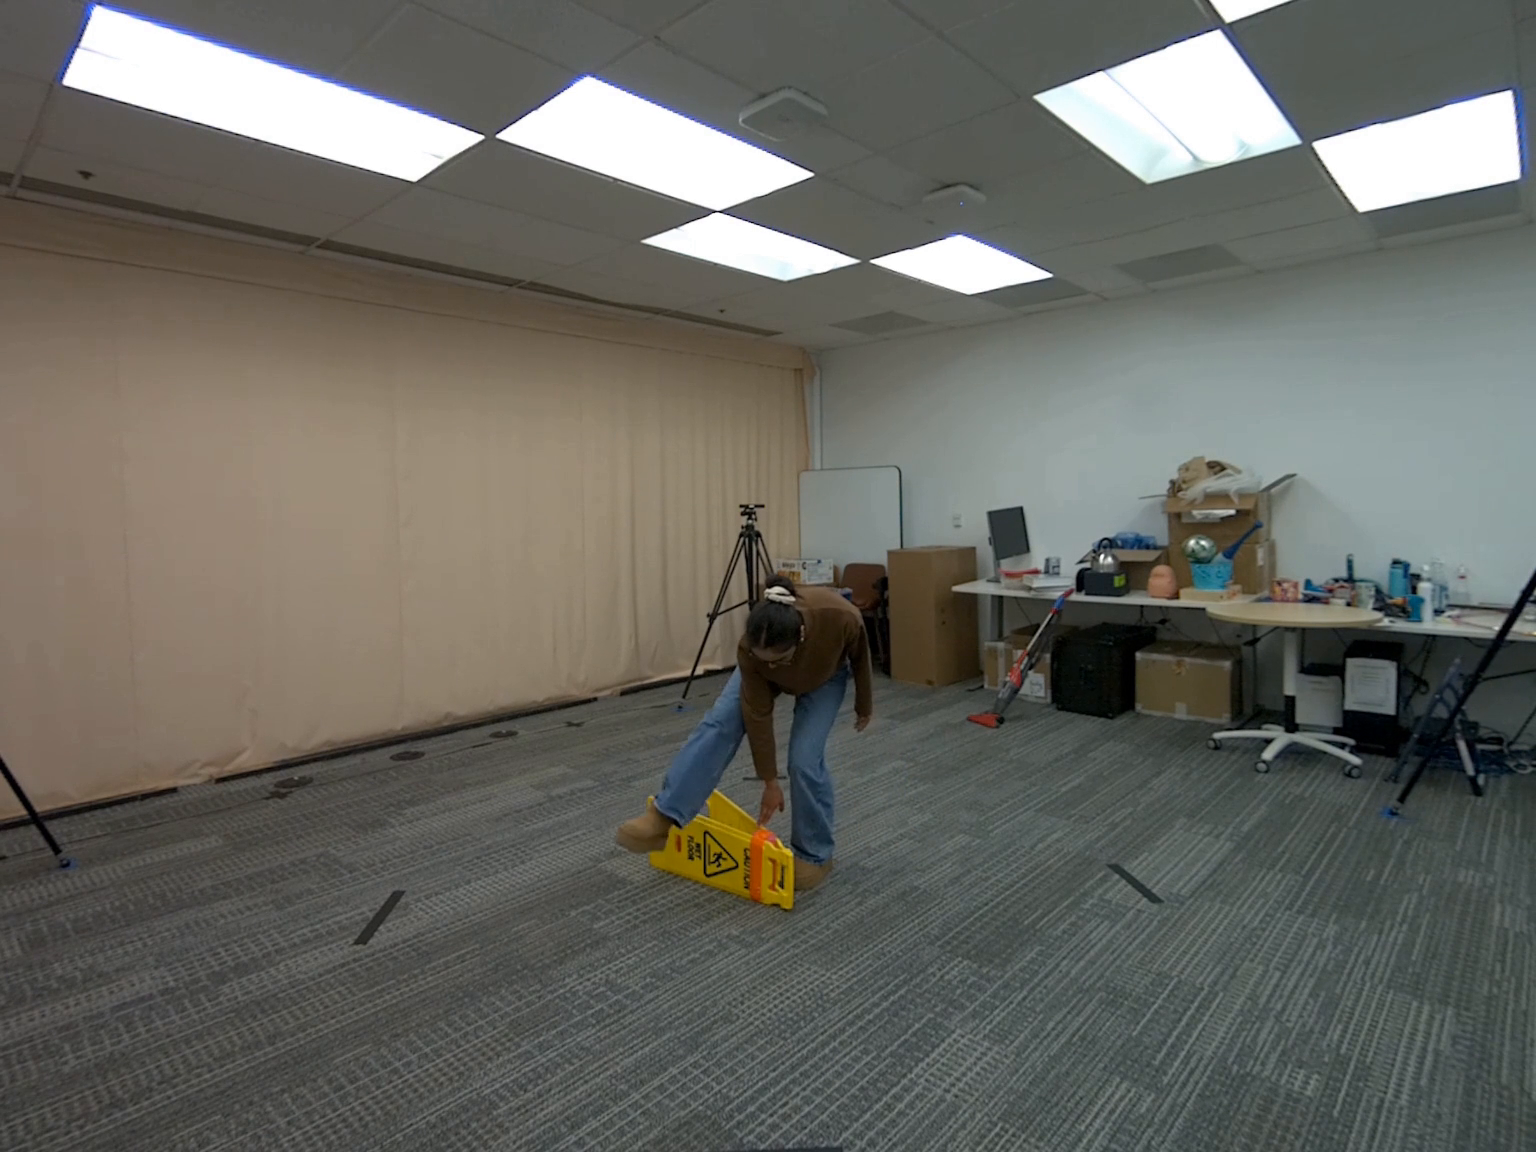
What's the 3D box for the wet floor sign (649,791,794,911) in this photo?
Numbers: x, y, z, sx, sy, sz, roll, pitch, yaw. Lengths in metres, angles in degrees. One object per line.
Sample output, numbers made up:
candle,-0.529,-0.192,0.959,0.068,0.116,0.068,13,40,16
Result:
wet floor sign,-0.140,1.007,3.106,0.281,0.281,0.668,-5,9,-42
